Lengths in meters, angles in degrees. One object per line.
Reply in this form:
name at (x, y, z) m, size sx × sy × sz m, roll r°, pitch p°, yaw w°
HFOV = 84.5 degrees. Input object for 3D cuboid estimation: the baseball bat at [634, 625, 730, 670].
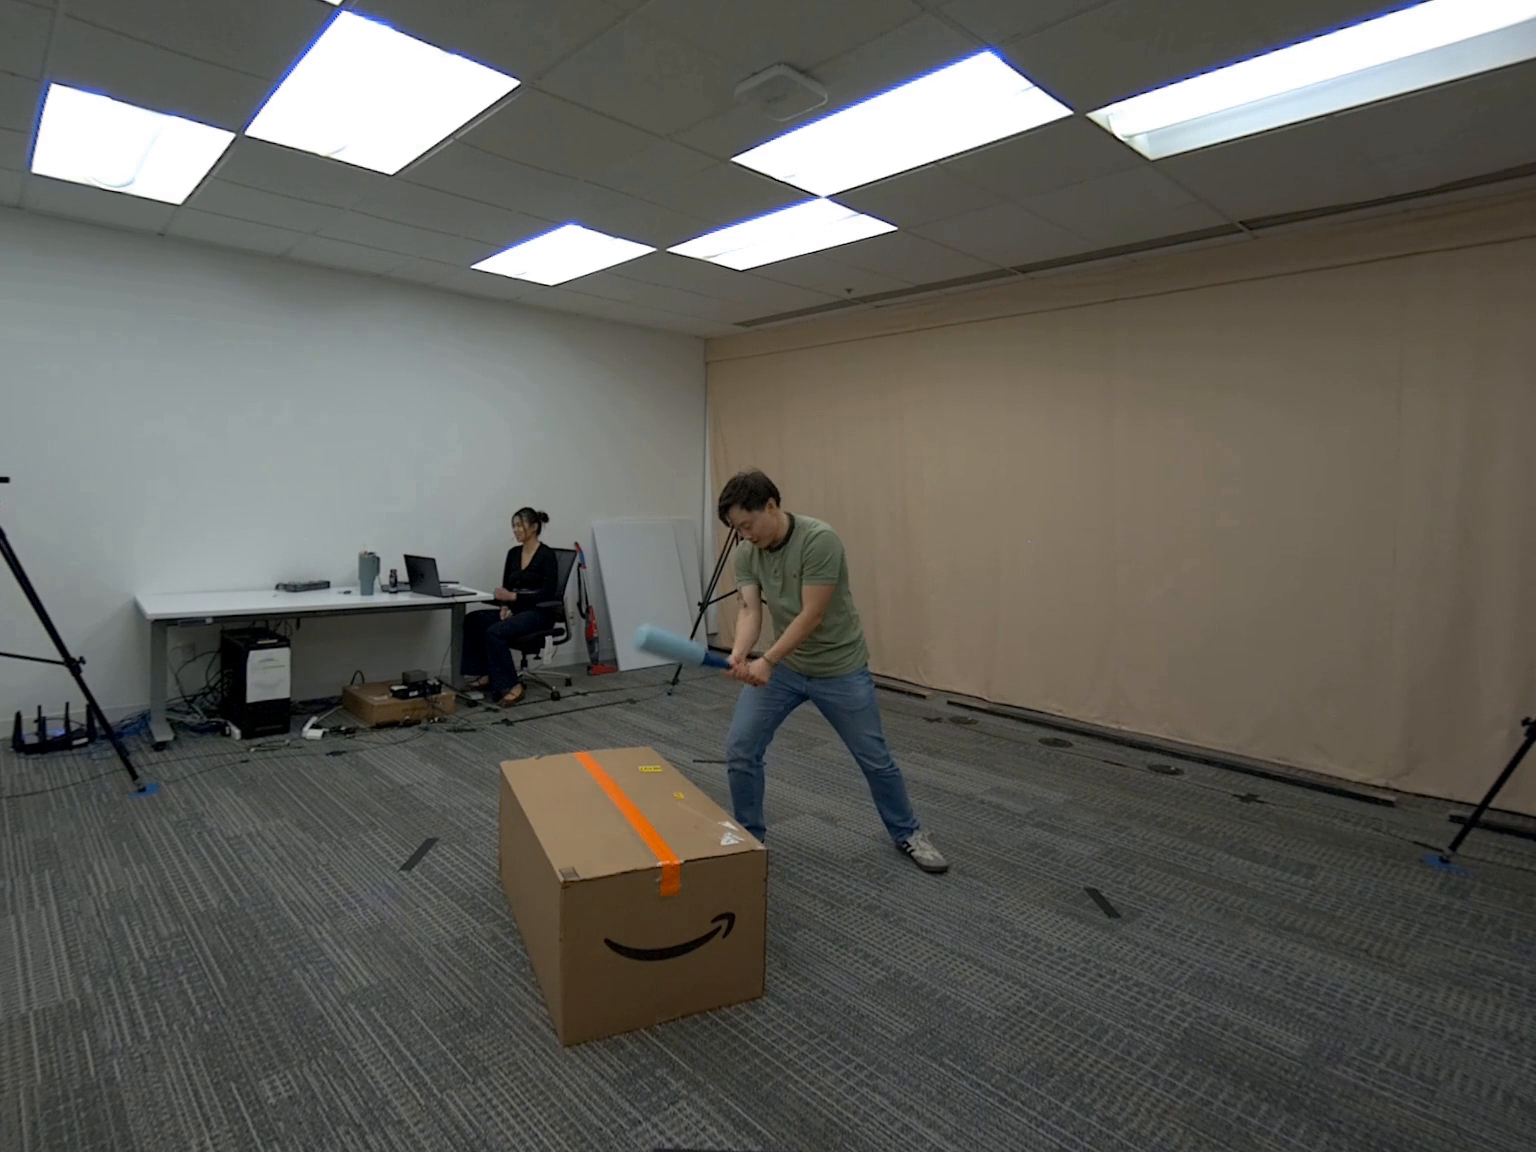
baseball bat at (-0.187, 0.264, 2.863) m, size 0.527 × 0.089 × 0.091 m, roll 25°, pitch -11°, yaw -35°
